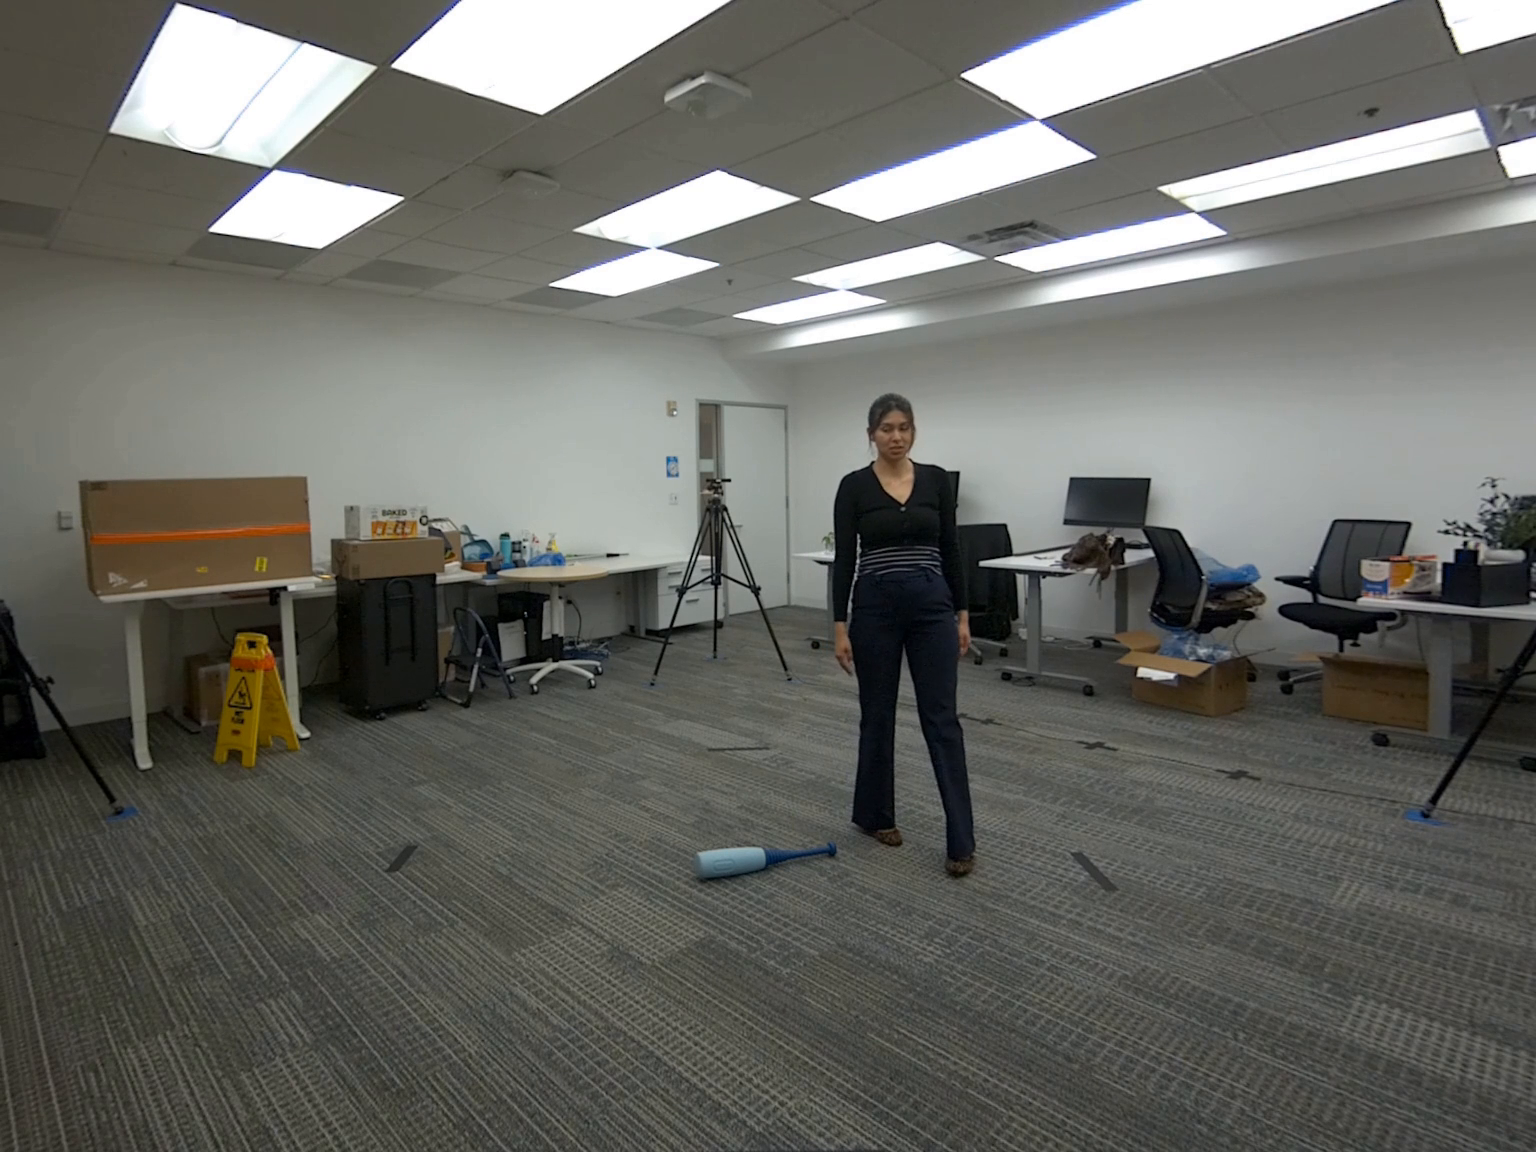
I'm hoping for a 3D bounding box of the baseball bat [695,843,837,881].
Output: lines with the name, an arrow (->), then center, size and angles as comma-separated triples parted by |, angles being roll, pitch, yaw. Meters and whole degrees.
baseball bat -> 0.003, 1.012, 3.068 | 0.532, 0.089, 0.091 | 1, 4, -20
